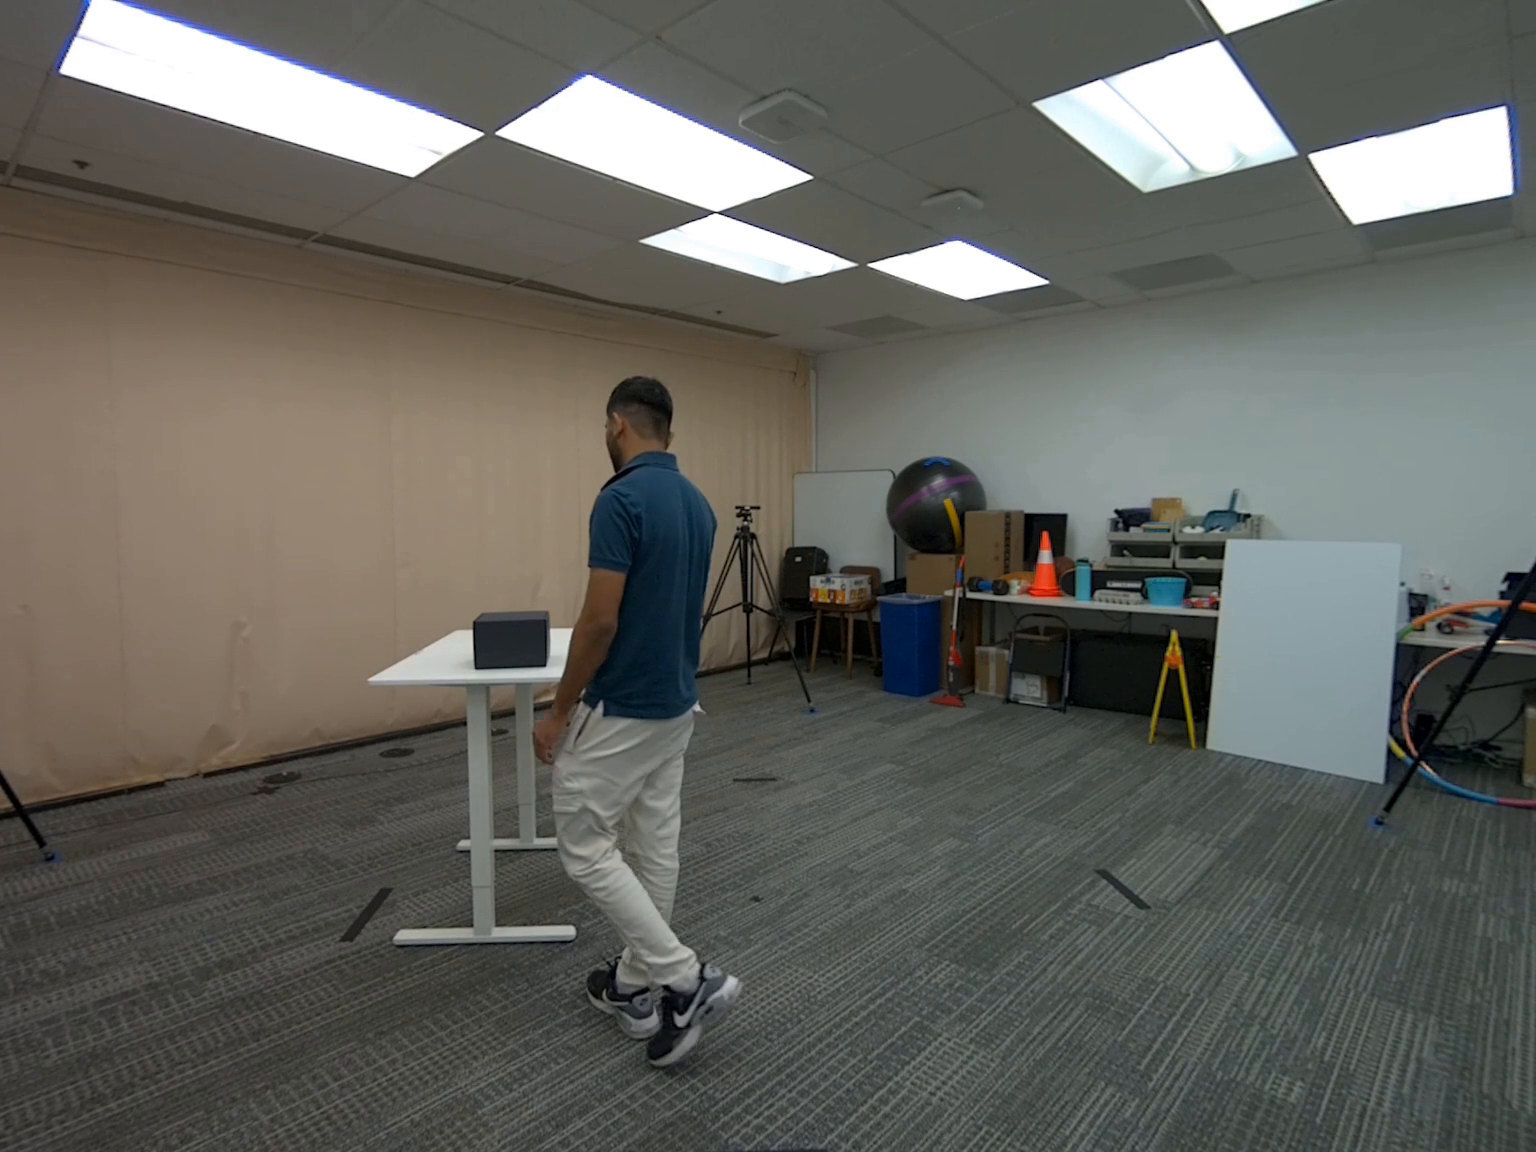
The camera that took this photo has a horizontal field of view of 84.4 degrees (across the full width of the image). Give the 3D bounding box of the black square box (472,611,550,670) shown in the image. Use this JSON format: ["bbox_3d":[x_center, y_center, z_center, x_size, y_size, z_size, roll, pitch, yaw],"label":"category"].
[{"bbox_3d":[-0.852,0.210,2.801,0.227,0.155,0.218,-2,3,-6],"label":"black square box"}]
